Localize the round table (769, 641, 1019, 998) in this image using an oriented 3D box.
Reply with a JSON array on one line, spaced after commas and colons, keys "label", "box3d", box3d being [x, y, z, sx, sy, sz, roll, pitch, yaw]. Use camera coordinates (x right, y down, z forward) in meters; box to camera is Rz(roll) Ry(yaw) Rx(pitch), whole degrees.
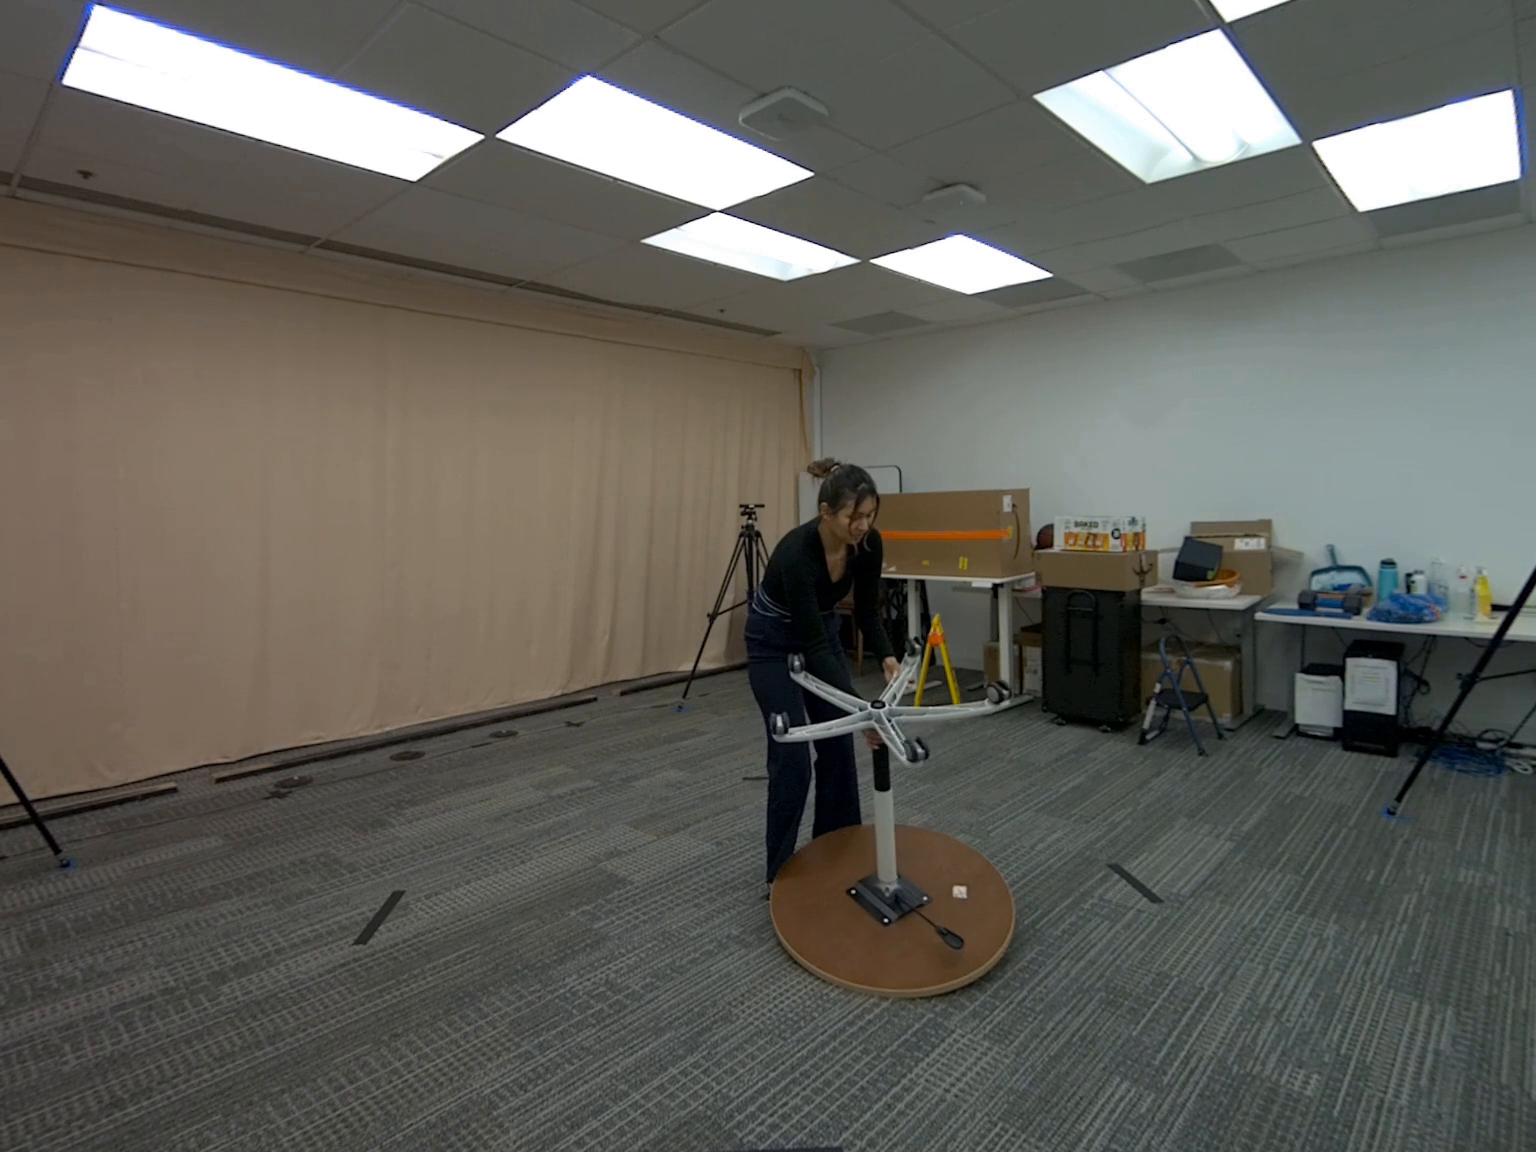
[{"label": "round table", "box3d": [0.369, 0.697, 2.593, 0.765, 0.784, 0.773, -6, 17, 0]}]
